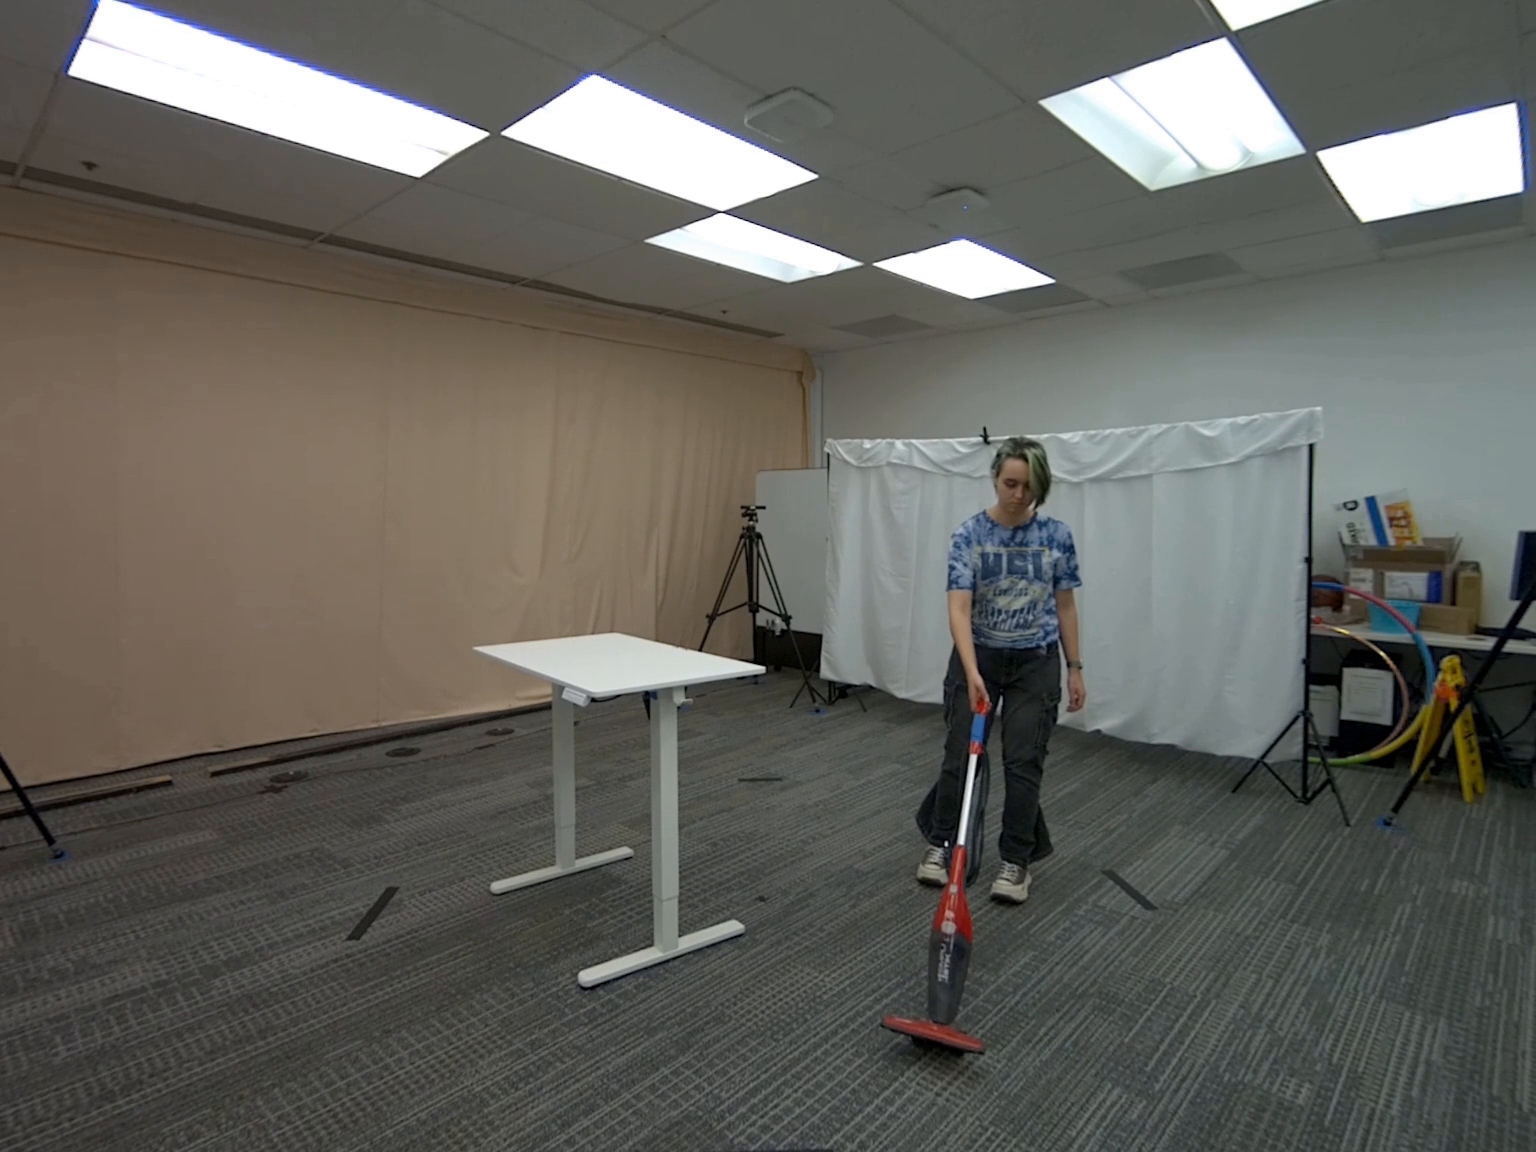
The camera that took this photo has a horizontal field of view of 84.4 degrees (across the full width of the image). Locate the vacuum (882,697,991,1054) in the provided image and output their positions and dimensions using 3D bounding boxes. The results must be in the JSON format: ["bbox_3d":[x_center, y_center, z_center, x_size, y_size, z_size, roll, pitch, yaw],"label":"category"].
[{"bbox_3d":[0.587,0.805,2.443,0.259,0.140,1.053,1,47,26],"label":"vacuum"}]
